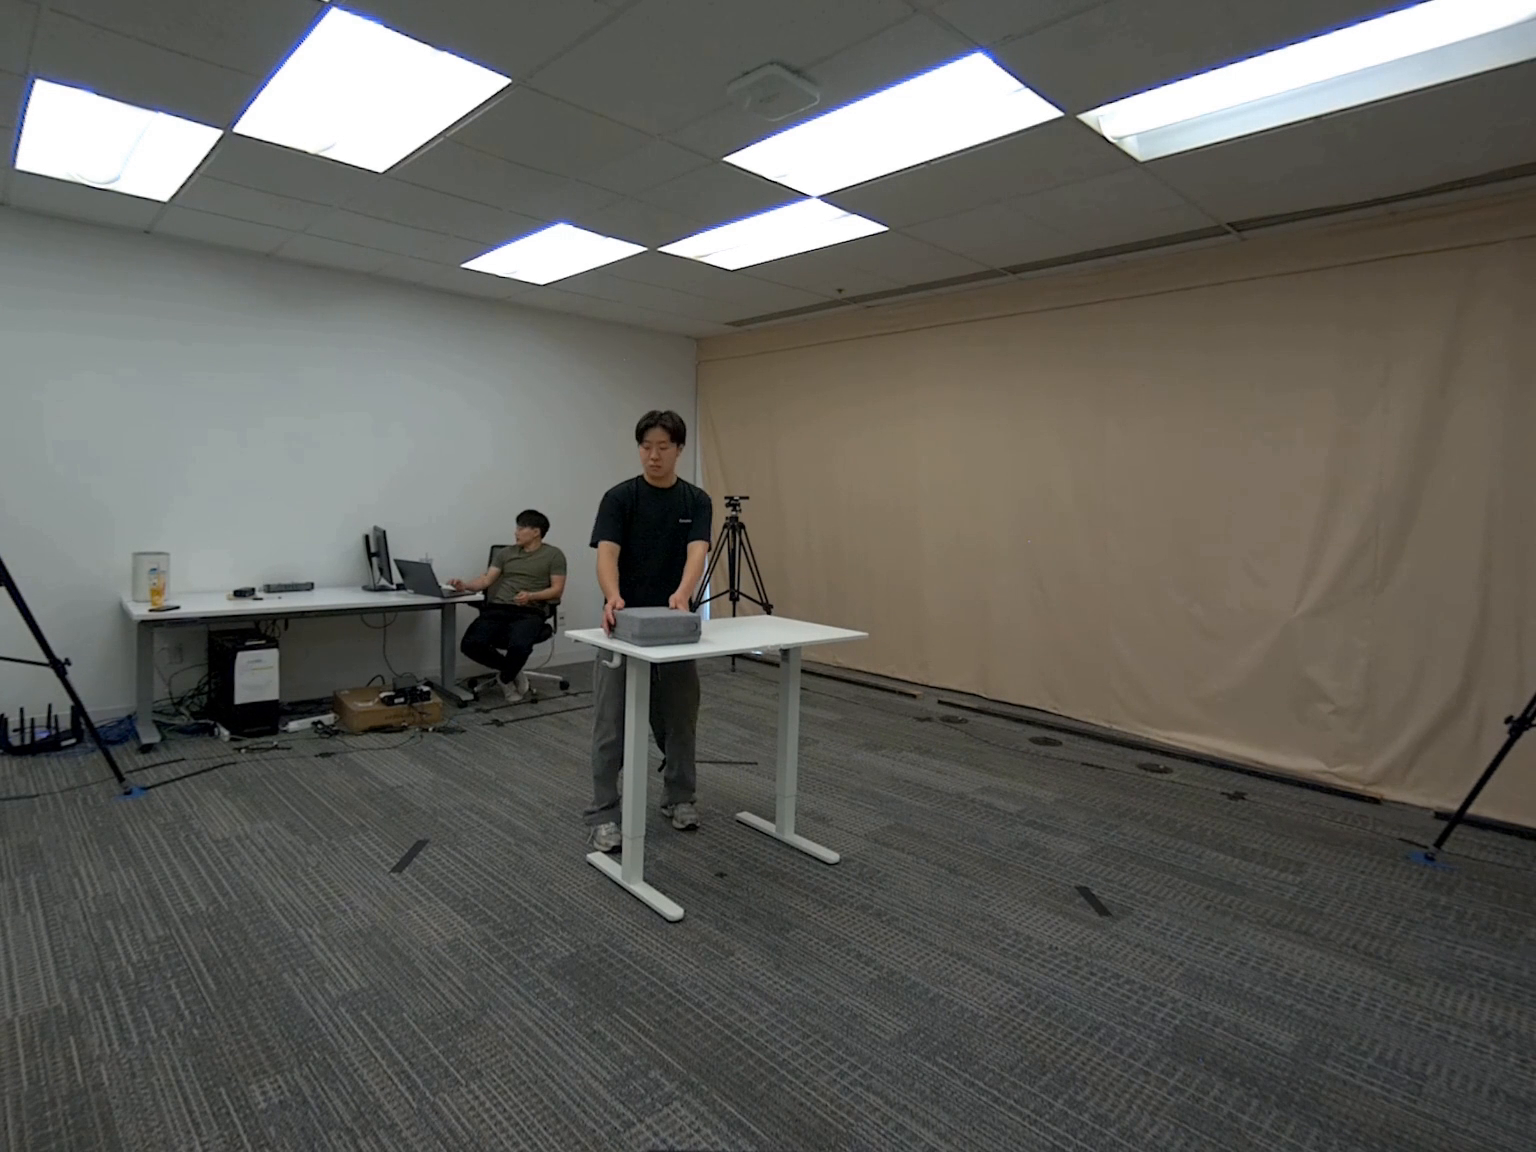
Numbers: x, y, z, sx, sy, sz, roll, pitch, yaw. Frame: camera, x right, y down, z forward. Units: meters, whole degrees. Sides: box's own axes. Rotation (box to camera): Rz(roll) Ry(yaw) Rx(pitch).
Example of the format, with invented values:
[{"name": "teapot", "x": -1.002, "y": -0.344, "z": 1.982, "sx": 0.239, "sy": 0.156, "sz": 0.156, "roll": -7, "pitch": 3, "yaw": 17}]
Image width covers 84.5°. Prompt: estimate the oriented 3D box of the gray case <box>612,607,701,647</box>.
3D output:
[{"name": "gray case", "x": -0.386, "y": 0.177, "z": 2.954, "sx": 0.281, "sy": 0.103, "sz": 0.269, "roll": -1, "pitch": 5, "yaw": -33}]
